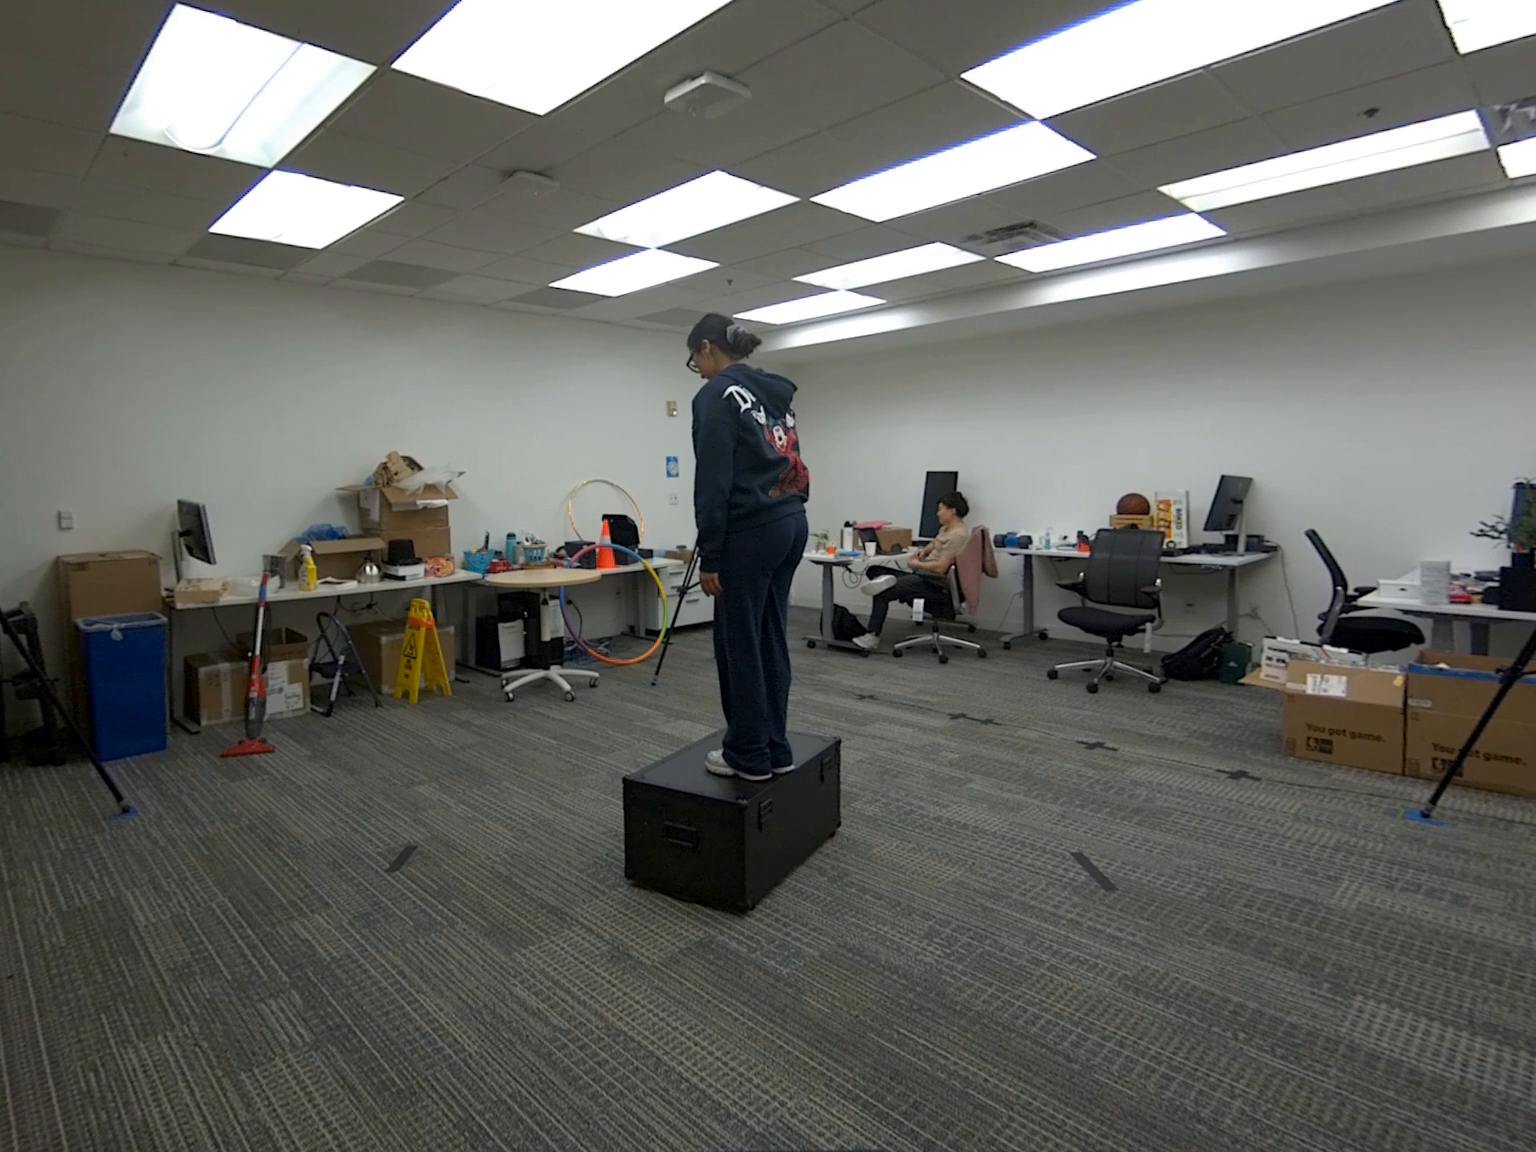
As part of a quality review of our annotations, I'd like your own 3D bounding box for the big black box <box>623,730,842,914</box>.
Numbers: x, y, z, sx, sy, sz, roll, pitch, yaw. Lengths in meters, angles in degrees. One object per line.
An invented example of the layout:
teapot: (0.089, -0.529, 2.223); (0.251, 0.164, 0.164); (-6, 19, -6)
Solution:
big black box: (-0.084, 0.848, 3.180); (0.534, 0.394, 0.844); (2, 7, 28)
